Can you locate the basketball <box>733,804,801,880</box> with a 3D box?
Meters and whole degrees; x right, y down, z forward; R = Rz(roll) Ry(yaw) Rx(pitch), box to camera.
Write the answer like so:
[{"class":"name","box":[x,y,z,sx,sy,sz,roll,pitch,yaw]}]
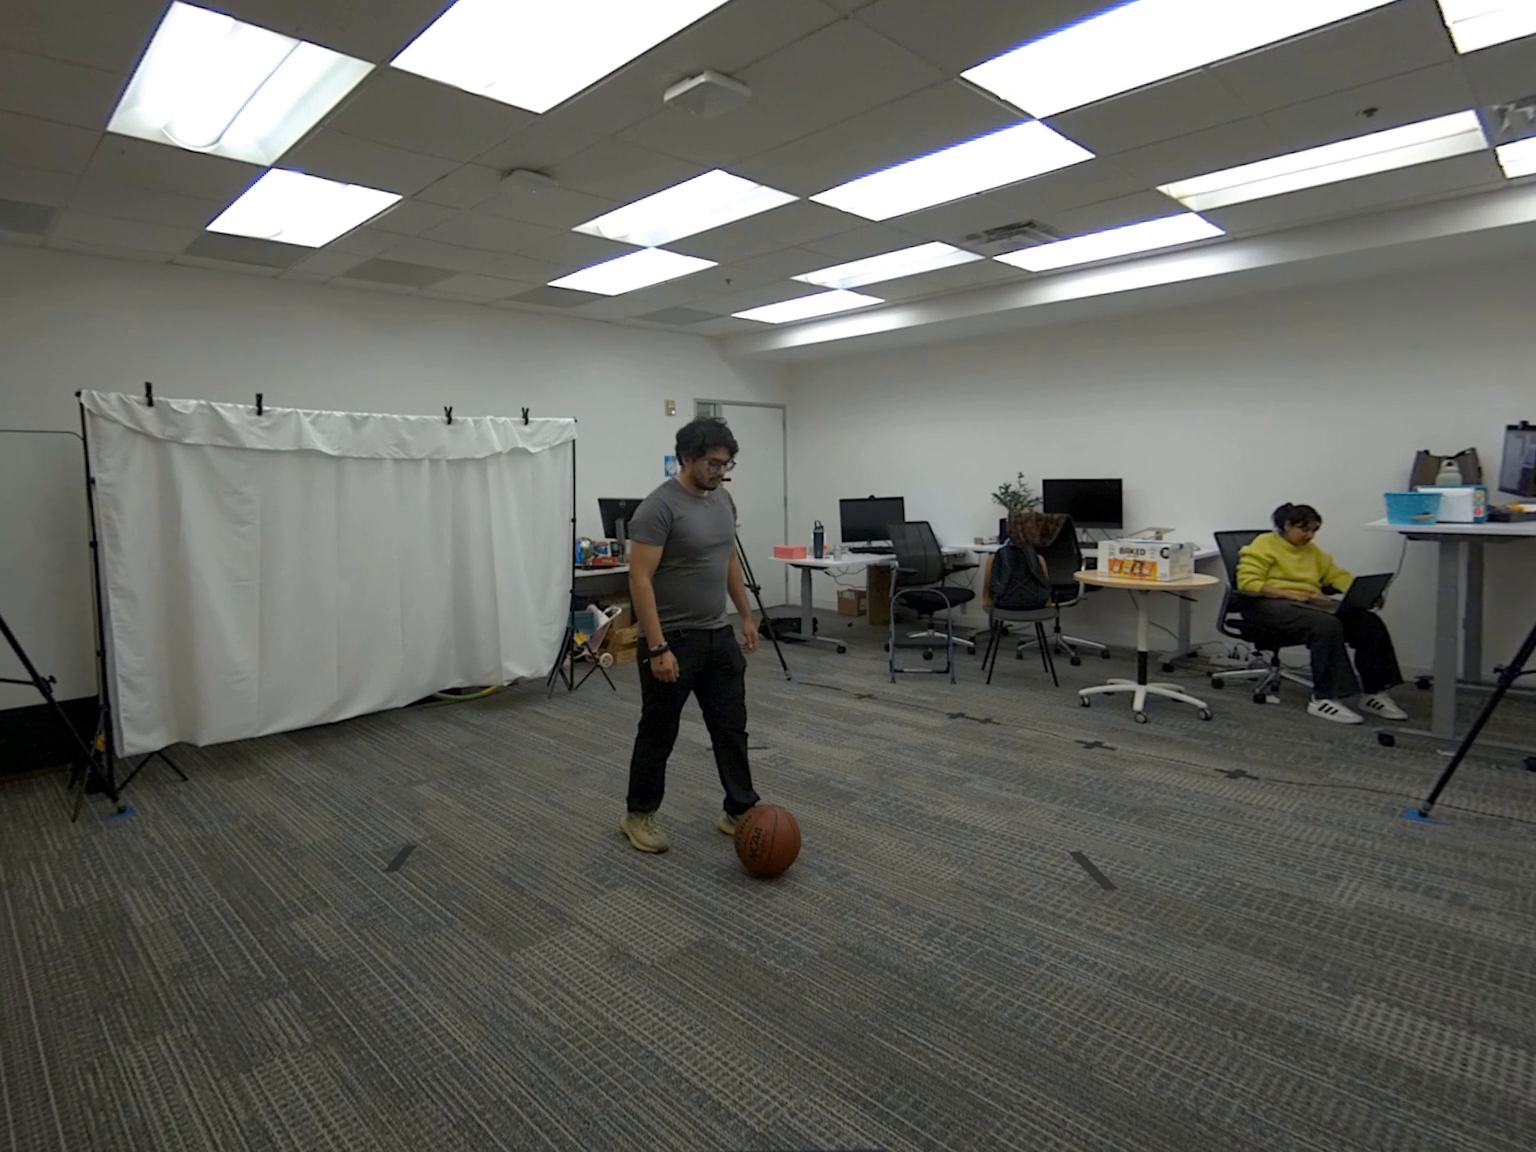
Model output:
[{"class":"basketball","box":[-0.003,0.927,3.023,0.236,0.235,0.237,-1,5,-2]}]
